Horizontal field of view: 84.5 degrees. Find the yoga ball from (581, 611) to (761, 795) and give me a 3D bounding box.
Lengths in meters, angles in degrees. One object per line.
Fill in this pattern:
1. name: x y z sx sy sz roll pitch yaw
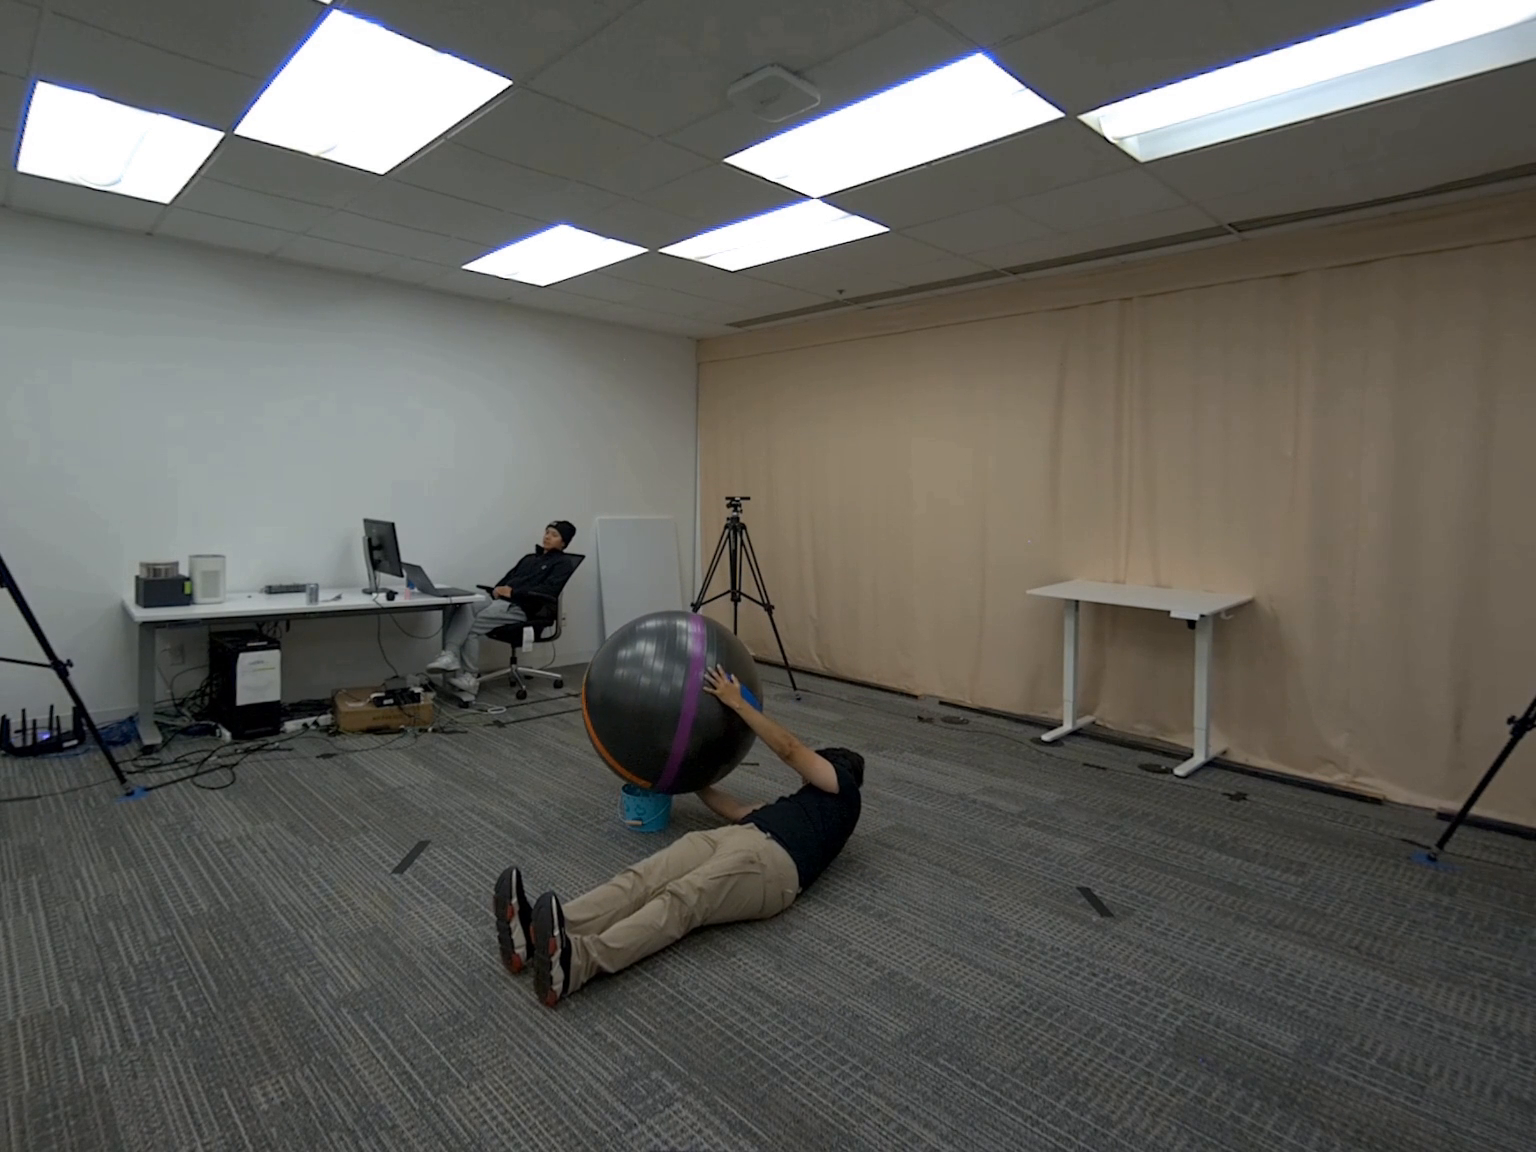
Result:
1. yoga ball: -0.406 0.529 3.545 0.757 0.755 0.761 1 5 -1
